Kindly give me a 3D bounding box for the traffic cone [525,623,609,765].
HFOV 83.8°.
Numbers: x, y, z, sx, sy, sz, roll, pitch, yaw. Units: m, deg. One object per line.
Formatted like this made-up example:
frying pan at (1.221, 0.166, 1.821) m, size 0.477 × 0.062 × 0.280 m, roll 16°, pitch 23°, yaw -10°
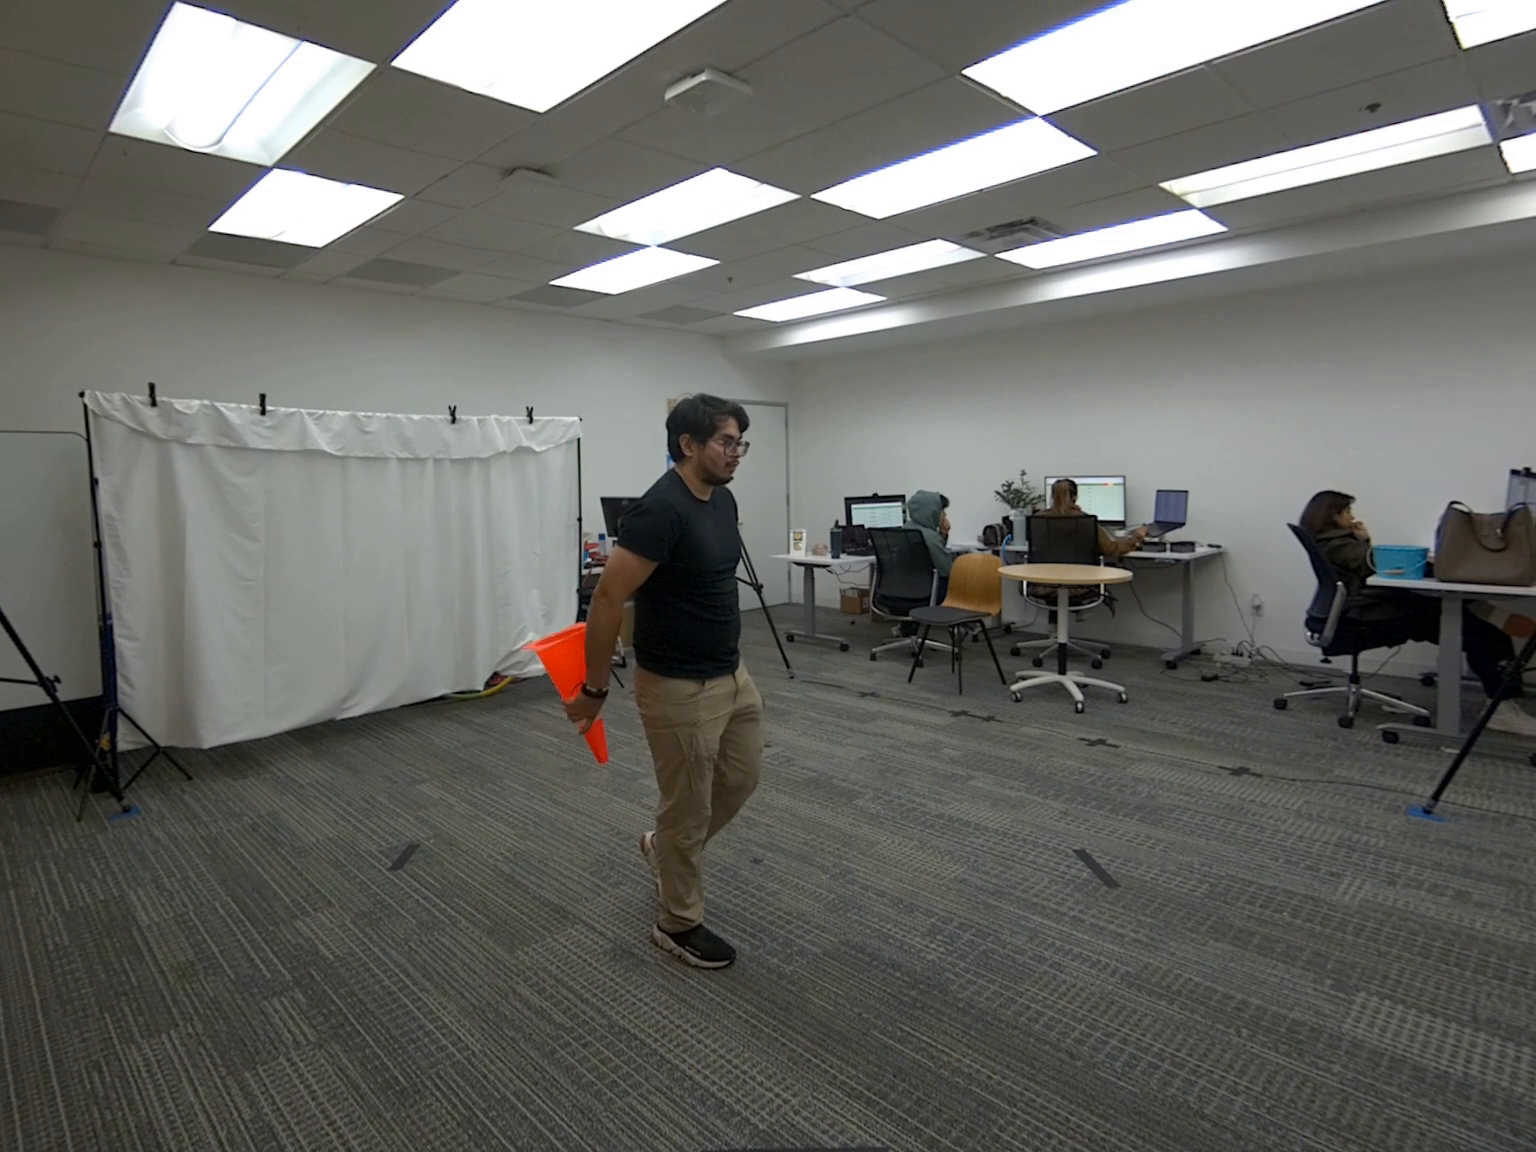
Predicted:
traffic cone at (-0.501, 0.352, 2.383) m, size 0.203 × 0.382 × 0.206 m, roll -21°, pitch 5°, yaw -18°
